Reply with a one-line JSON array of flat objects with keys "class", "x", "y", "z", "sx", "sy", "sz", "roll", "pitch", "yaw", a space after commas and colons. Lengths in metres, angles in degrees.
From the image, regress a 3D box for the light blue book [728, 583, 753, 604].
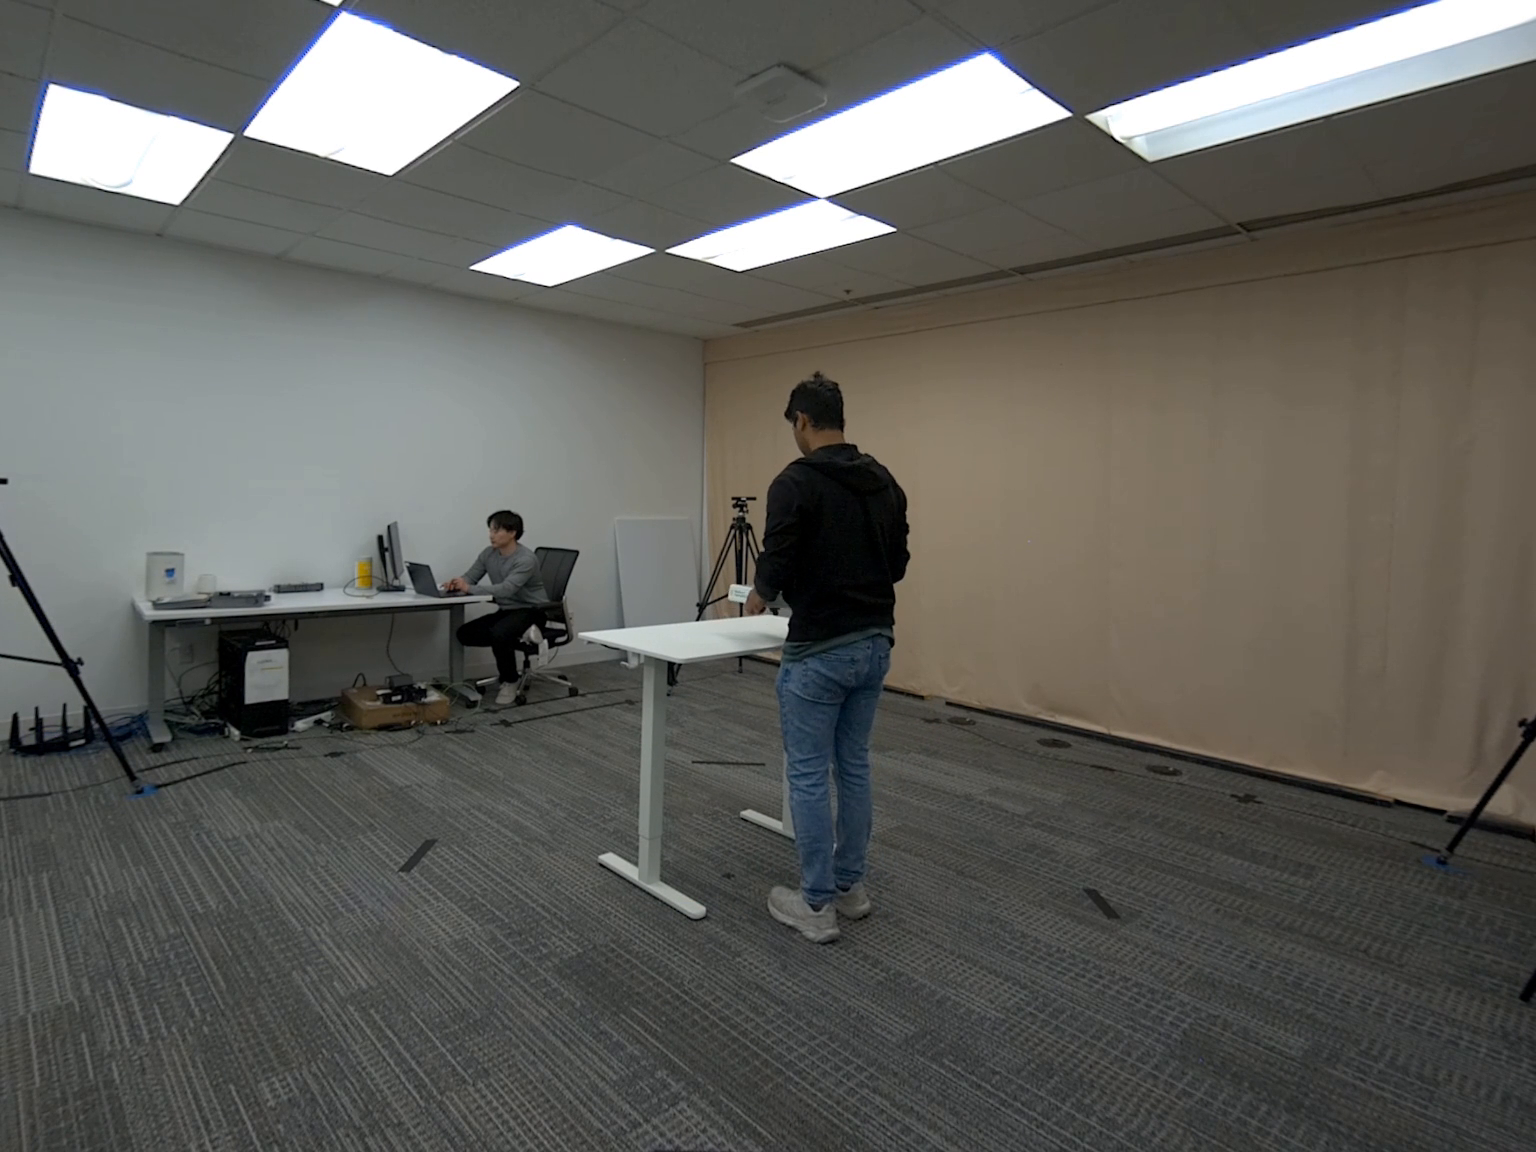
[{"class": "light blue book", "x": 0.005, "y": 0.083, "z": 3.095, "sx": 0.187, "sy": 0.059, "sz": 0.266, "roll": 5, "pitch": 3, "yaw": -26}]
